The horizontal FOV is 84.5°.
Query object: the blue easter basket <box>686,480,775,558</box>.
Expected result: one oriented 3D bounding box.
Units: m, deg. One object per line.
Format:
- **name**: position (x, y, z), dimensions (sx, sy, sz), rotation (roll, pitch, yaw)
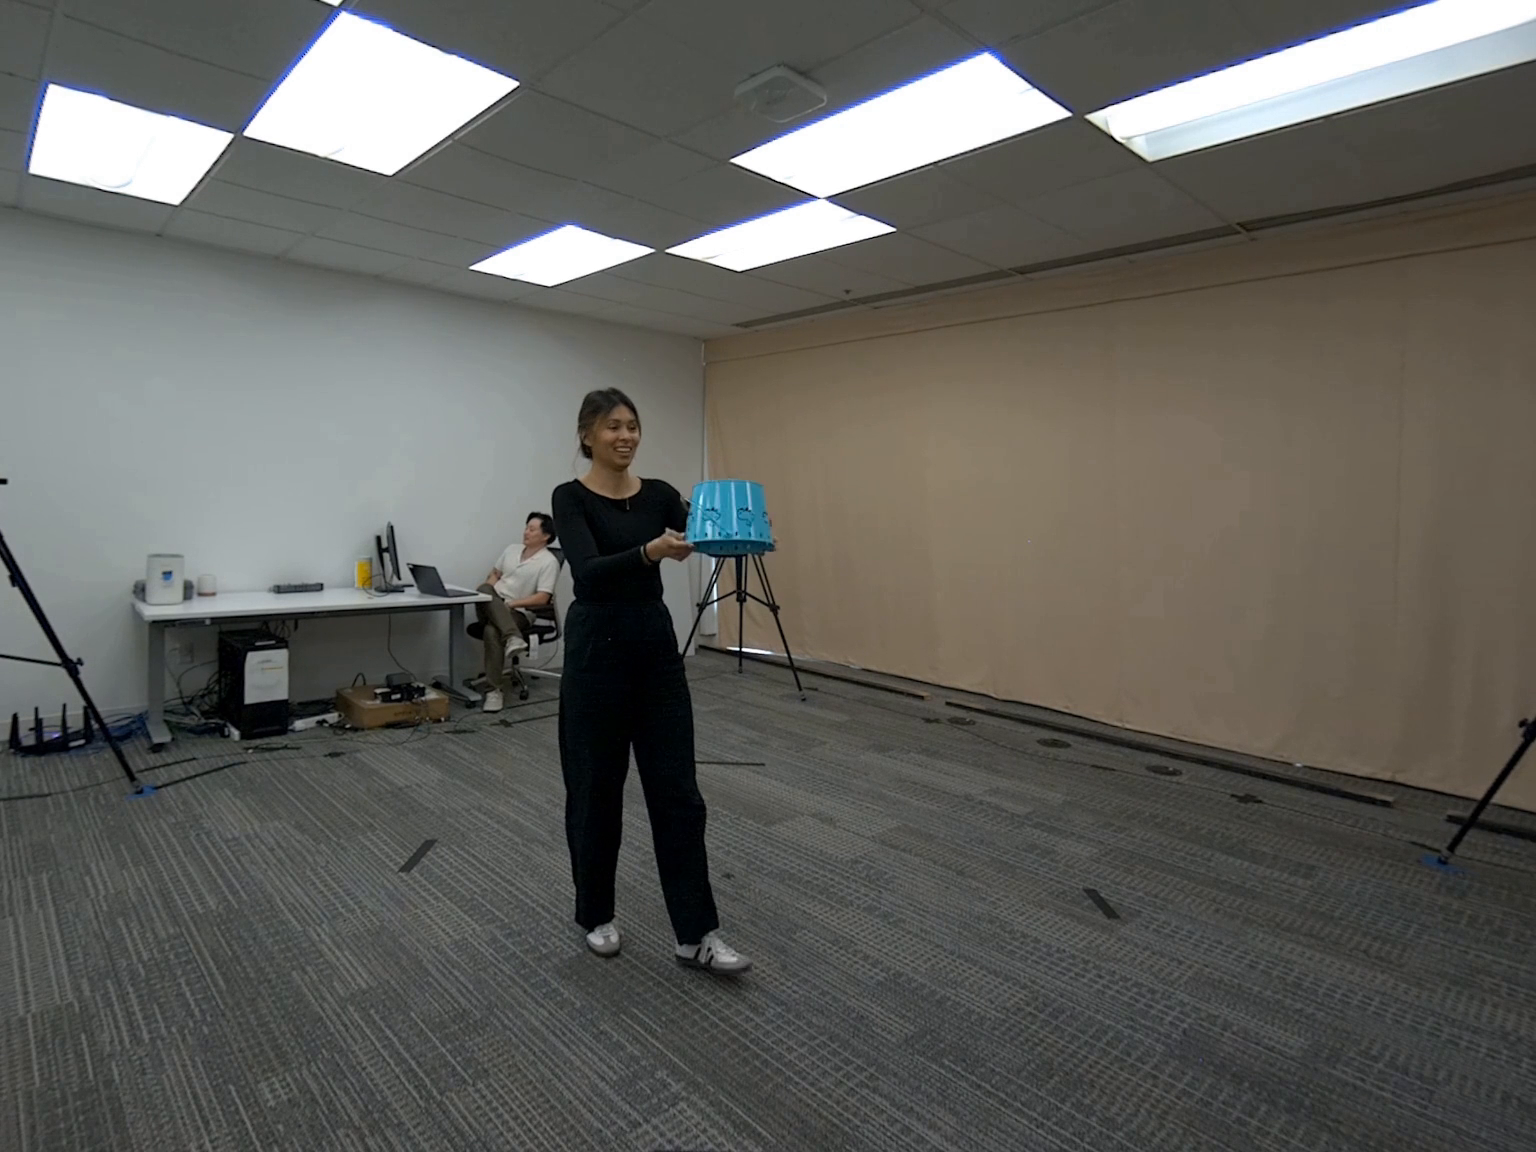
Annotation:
- **blue easter basket**: position (-0.116, -0.149, 2.103), dimensions (0.243, 0.157, 0.242), rotation (0, -9, -1)
